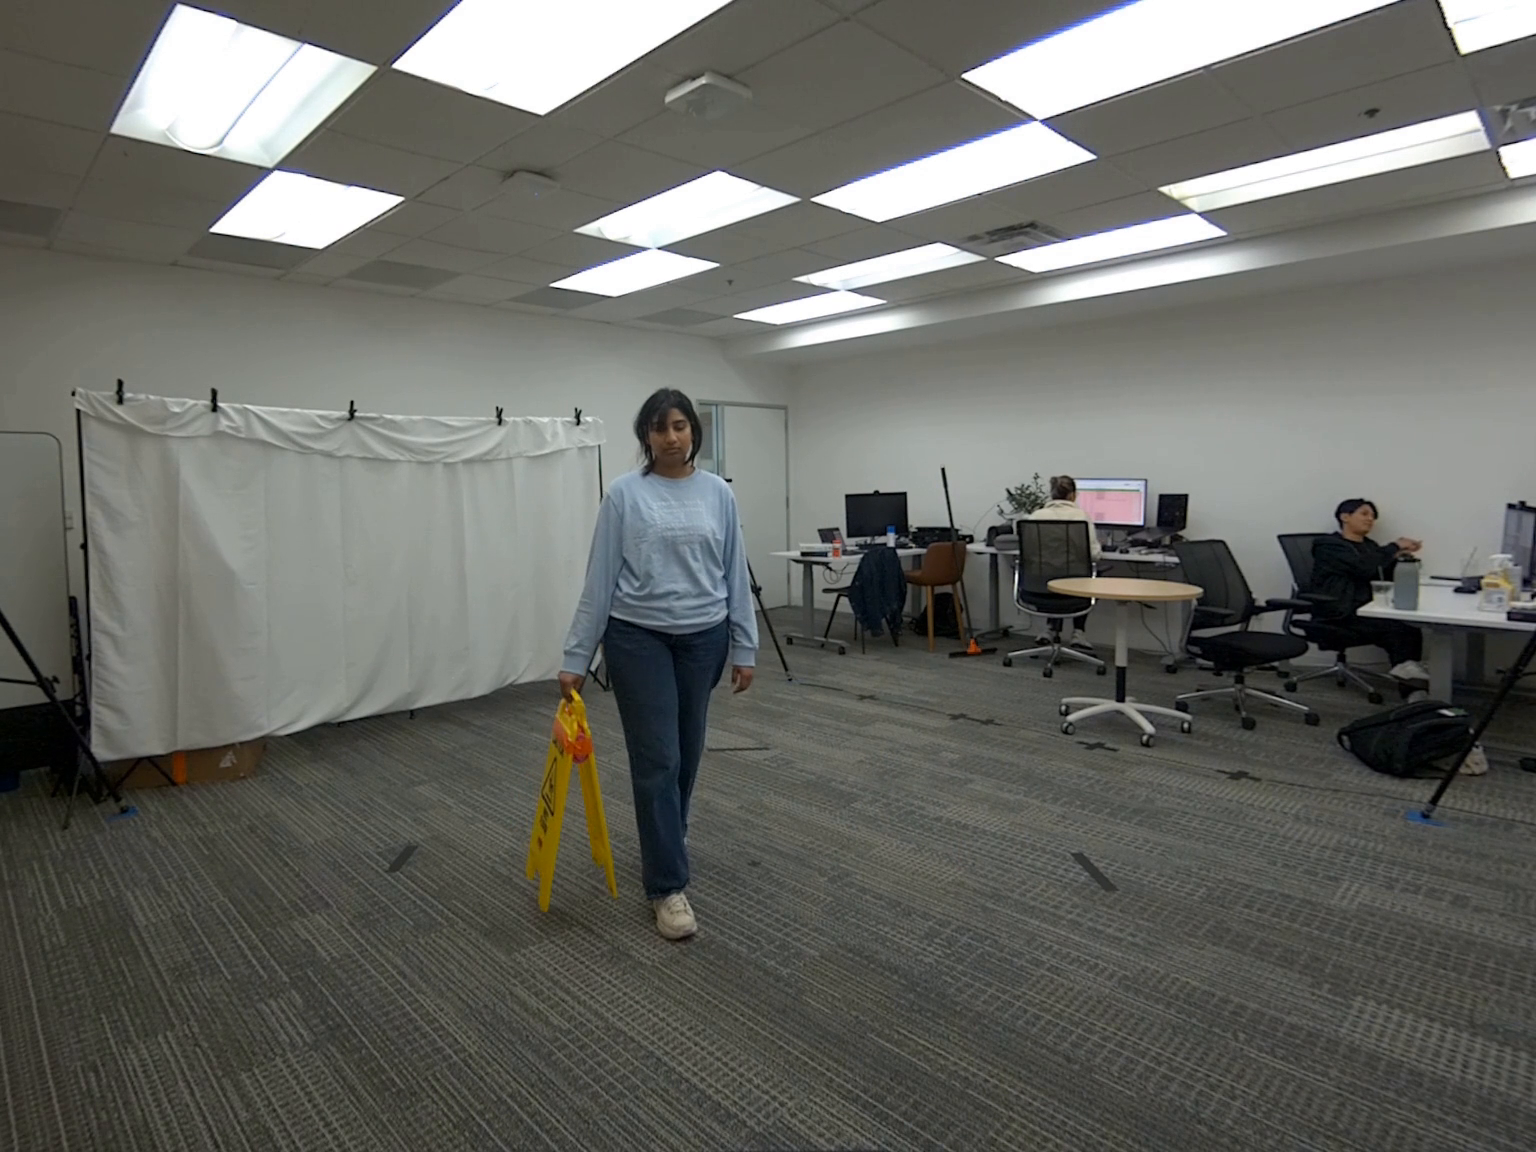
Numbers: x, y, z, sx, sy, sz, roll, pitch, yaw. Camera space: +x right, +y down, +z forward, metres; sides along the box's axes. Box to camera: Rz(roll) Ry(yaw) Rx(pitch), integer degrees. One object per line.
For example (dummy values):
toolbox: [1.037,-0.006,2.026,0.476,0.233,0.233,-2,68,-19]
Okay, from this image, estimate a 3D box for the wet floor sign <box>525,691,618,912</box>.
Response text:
wet floor sign: [-0.628,0.683,2.729,0.284,0.643,0.289,-1,6,-23]
